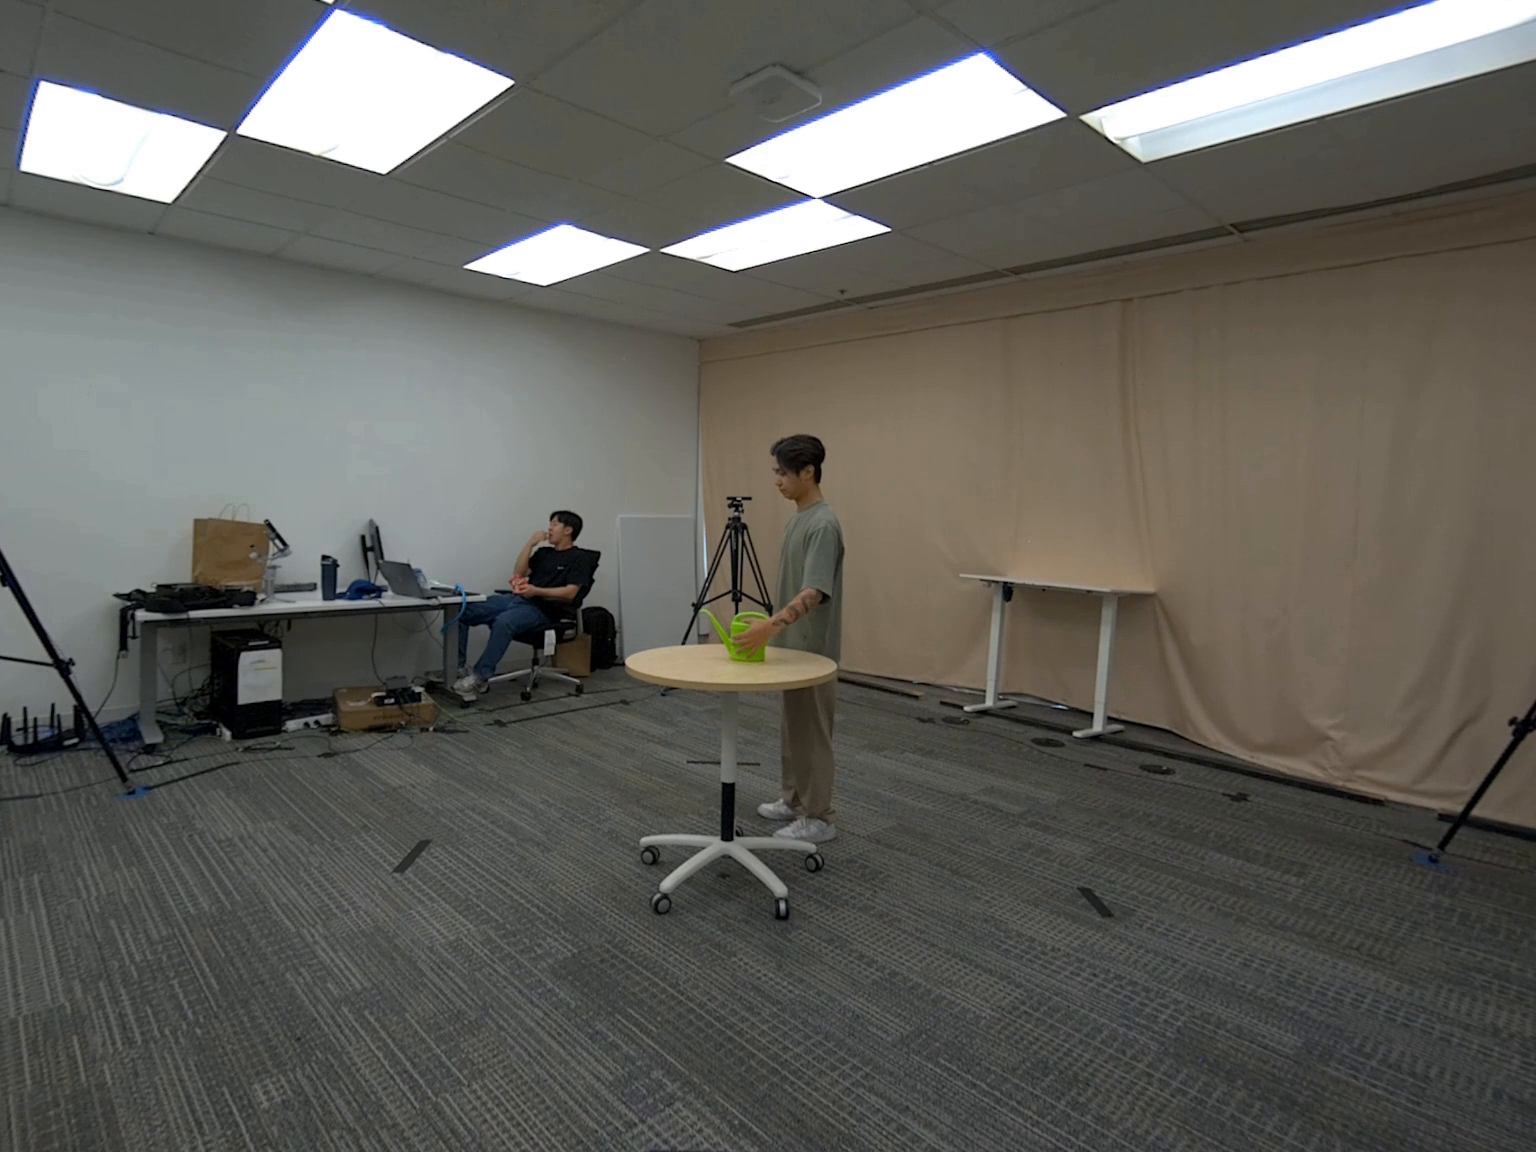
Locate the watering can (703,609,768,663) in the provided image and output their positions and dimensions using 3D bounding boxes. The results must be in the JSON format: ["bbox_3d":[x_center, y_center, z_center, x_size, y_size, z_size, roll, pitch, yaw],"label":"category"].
[{"bbox_3d":[-0.119,0.227,3.132,0.285,0.176,0.096,4,4,36],"label":"watering can"}]
